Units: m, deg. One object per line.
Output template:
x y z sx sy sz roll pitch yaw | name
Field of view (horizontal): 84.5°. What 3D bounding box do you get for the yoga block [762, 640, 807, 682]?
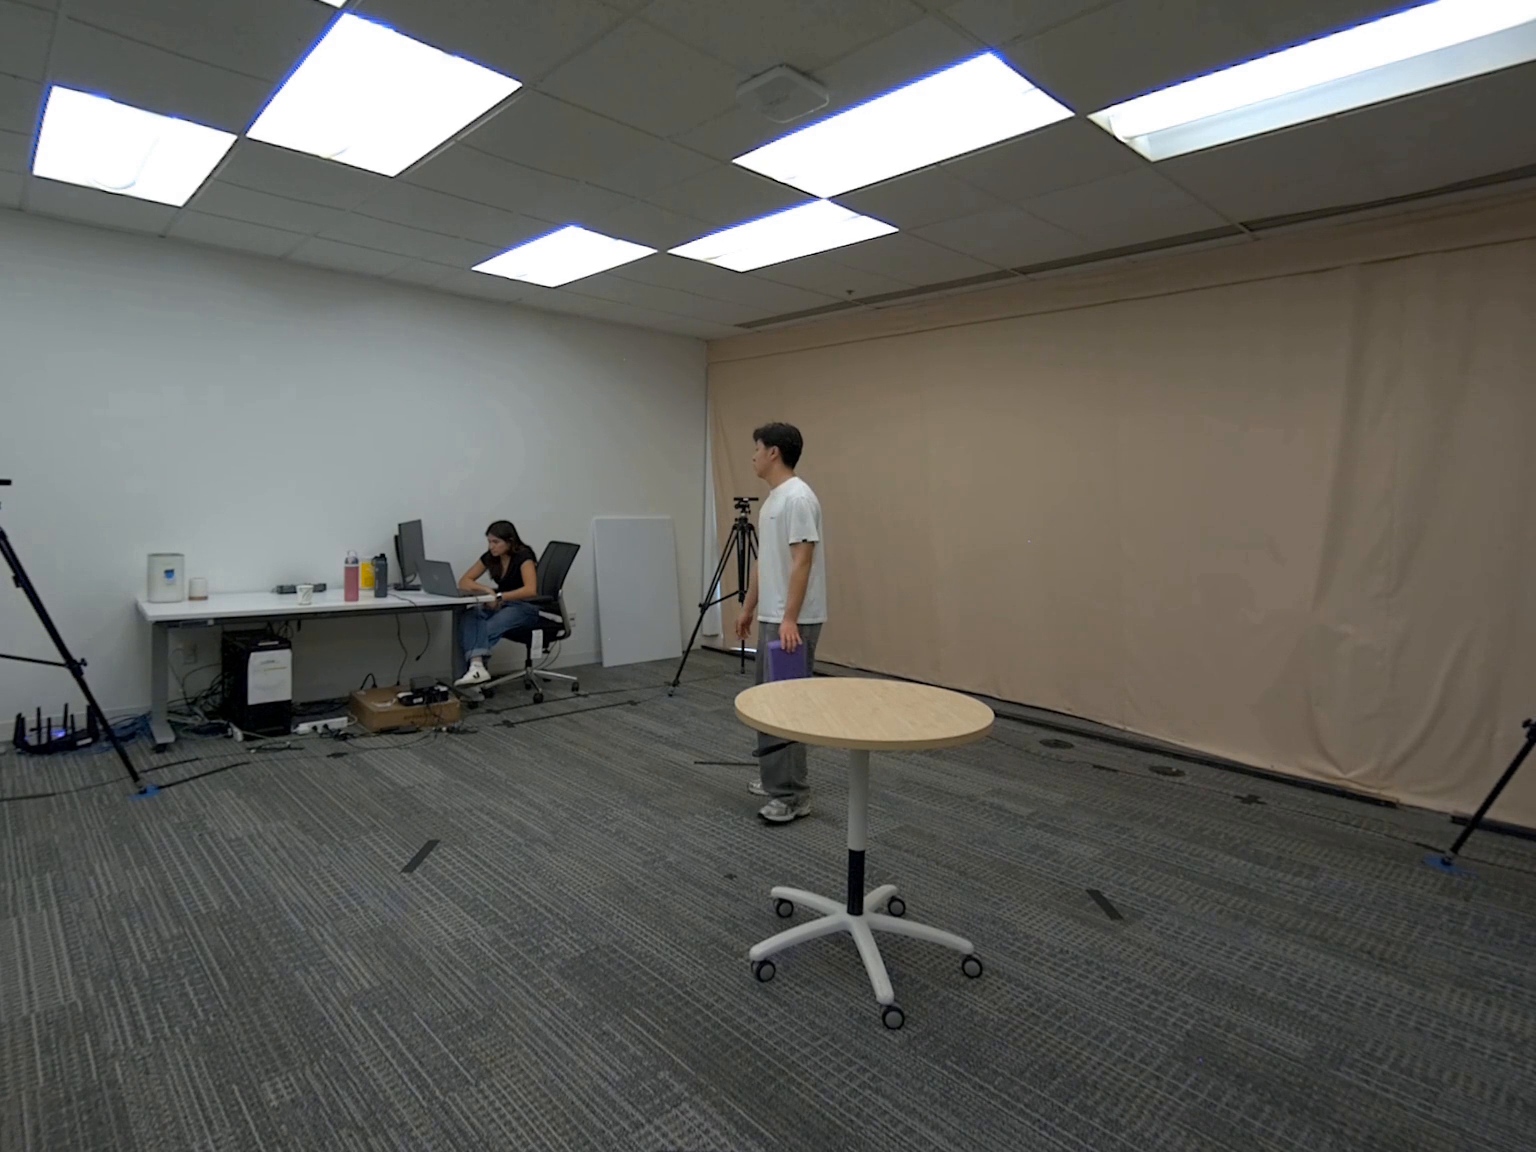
0.050 0.394 3.597 0.147 0.228 0.077 -4 6 -12 | yoga block
